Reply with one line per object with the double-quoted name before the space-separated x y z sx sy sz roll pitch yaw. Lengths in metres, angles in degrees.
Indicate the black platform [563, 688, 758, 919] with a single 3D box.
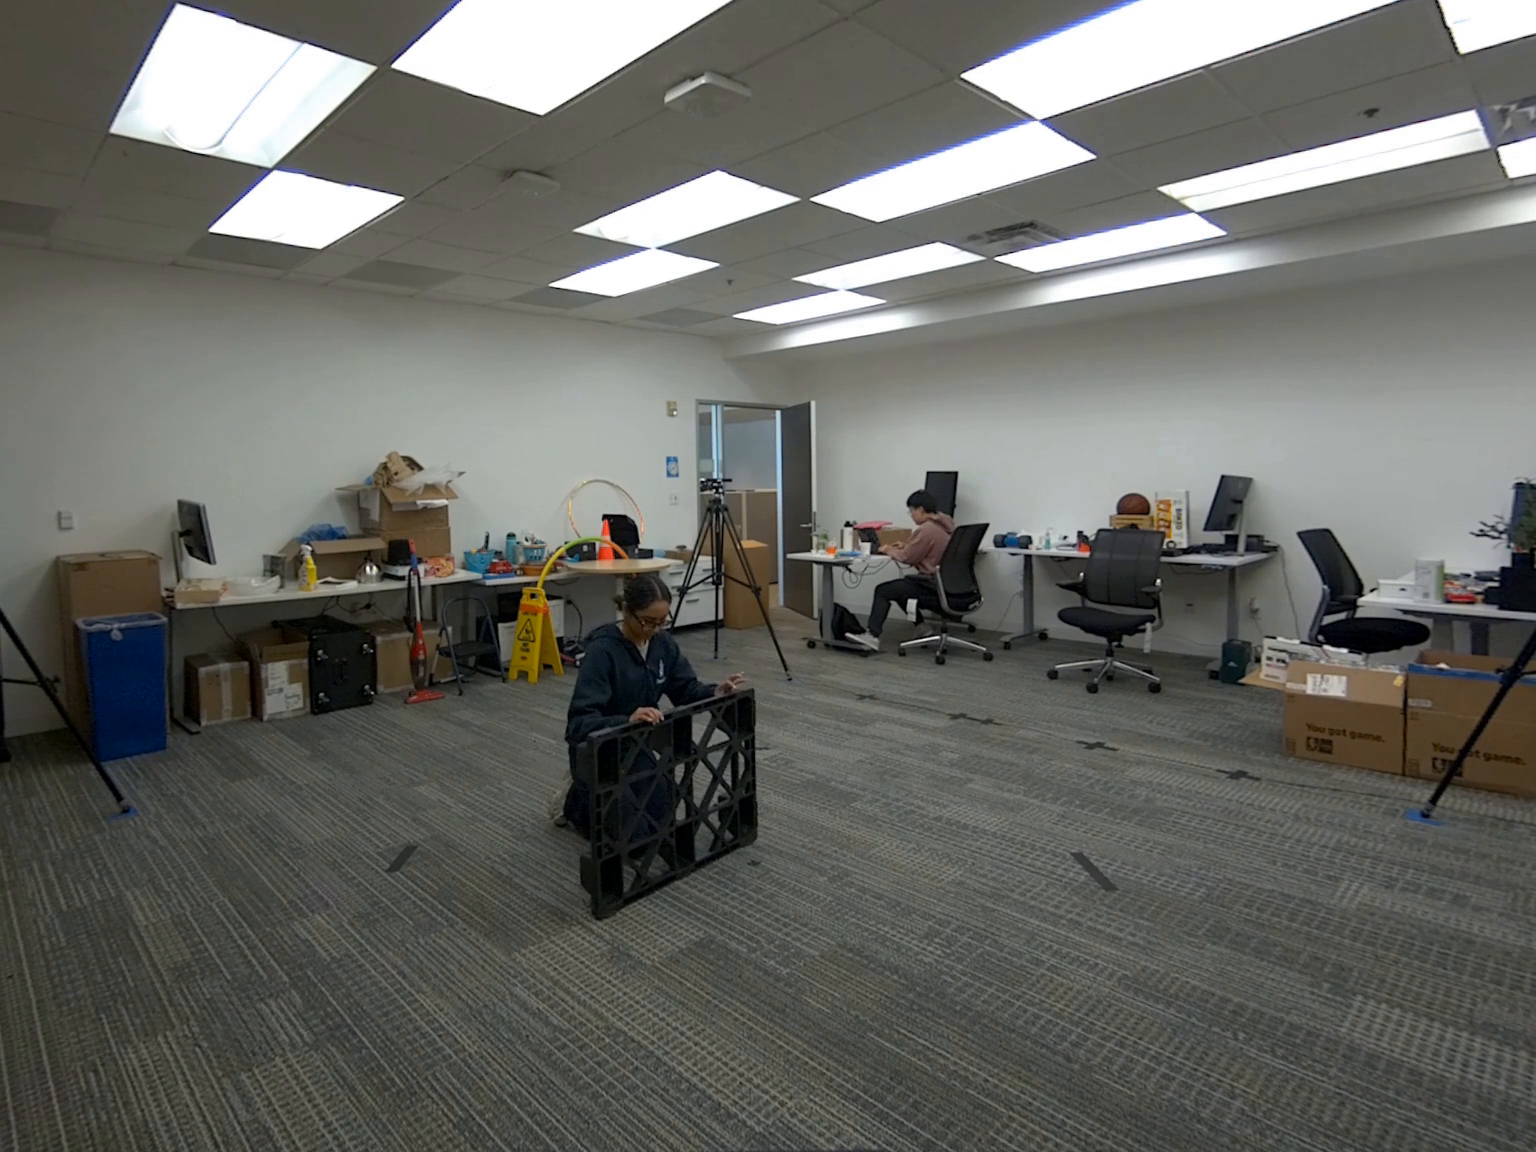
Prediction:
"black platform" -0.334 0.761 3.029 0.148 0.603 0.784 3 6 41
